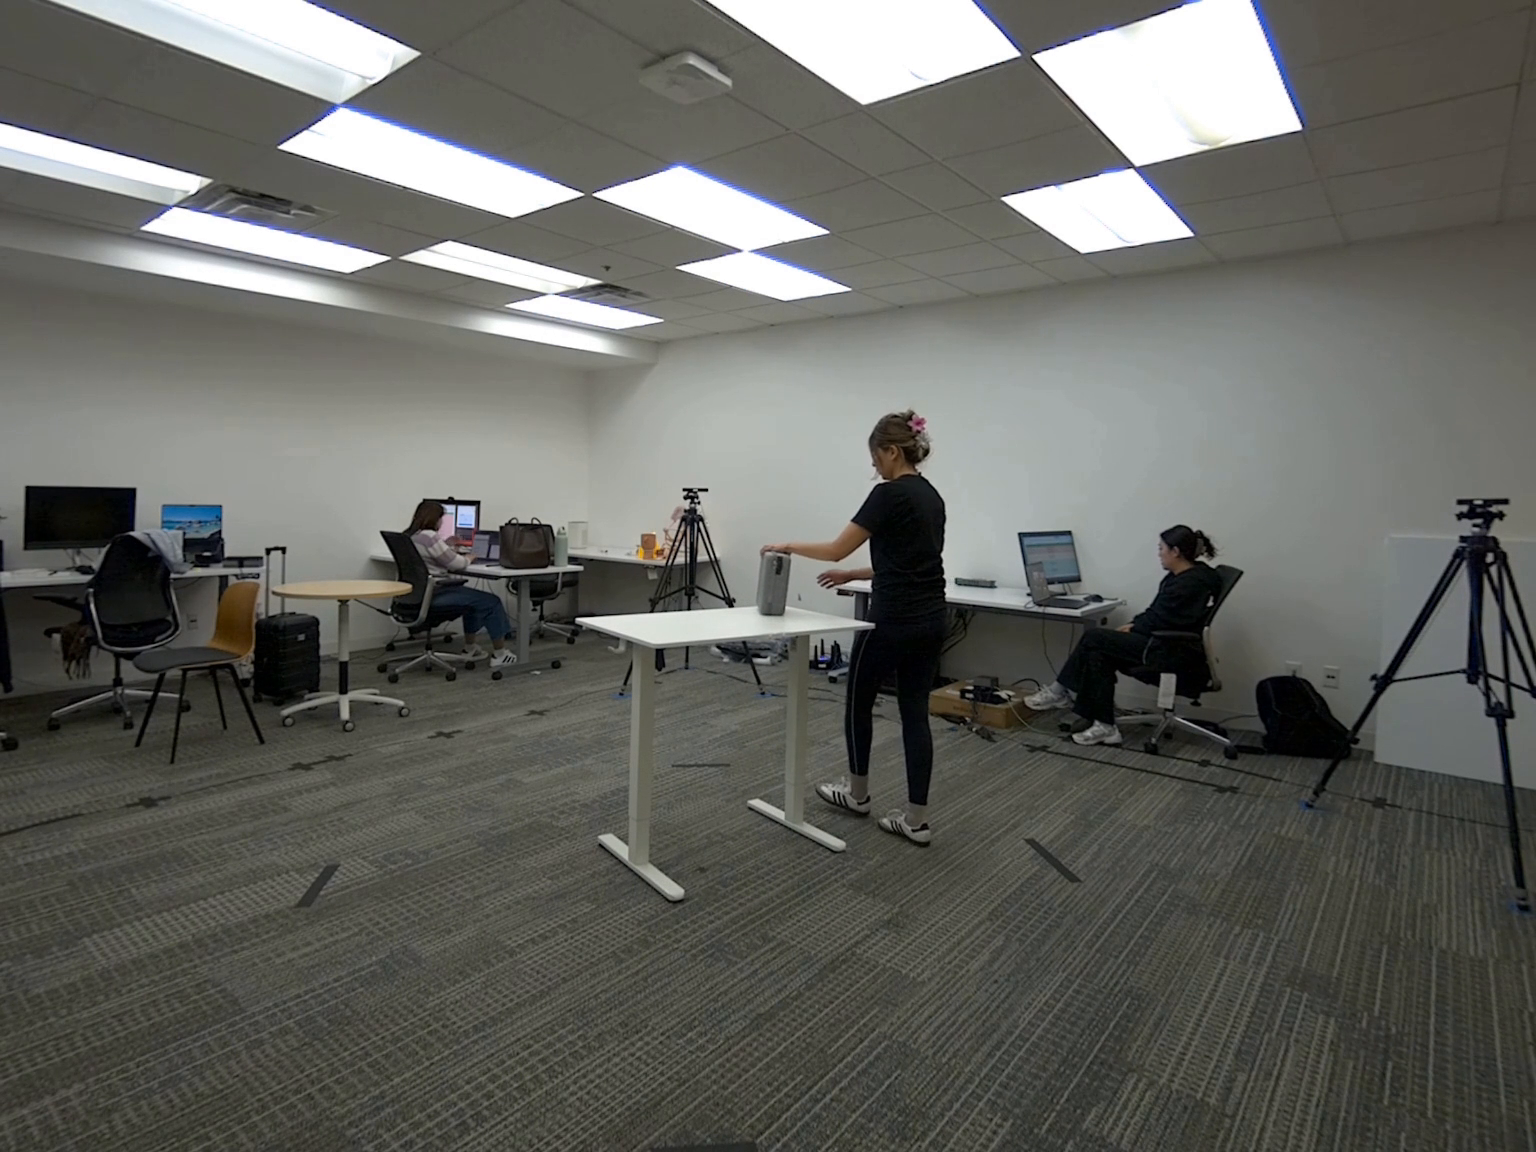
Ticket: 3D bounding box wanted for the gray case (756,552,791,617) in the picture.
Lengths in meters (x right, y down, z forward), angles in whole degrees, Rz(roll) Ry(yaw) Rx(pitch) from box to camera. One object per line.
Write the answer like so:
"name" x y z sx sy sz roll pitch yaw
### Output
"gray case" 0.017 0.024 3.579 0.104 0.256 0.263 5 4 -6
